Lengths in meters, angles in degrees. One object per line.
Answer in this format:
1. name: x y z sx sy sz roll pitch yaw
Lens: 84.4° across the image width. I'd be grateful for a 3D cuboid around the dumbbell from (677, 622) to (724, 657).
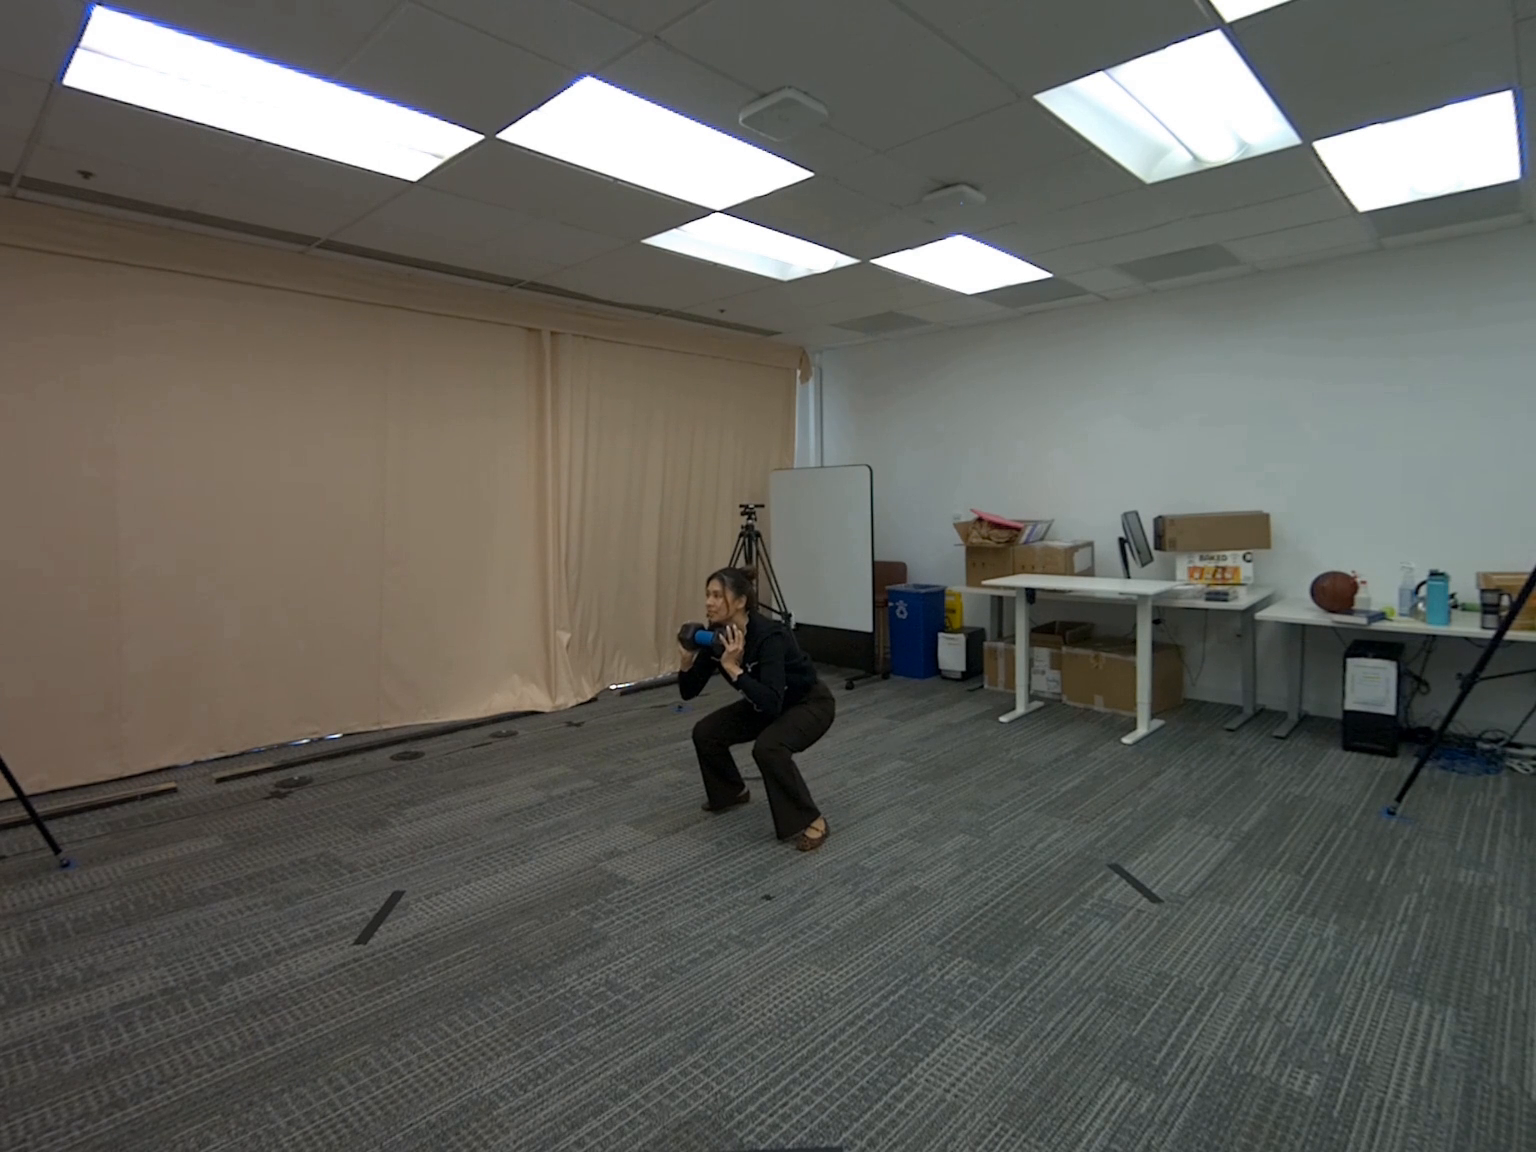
1. dumbbell: -0.236 0.253 3.509 0.303 0.123 0.105 6 -25 48
